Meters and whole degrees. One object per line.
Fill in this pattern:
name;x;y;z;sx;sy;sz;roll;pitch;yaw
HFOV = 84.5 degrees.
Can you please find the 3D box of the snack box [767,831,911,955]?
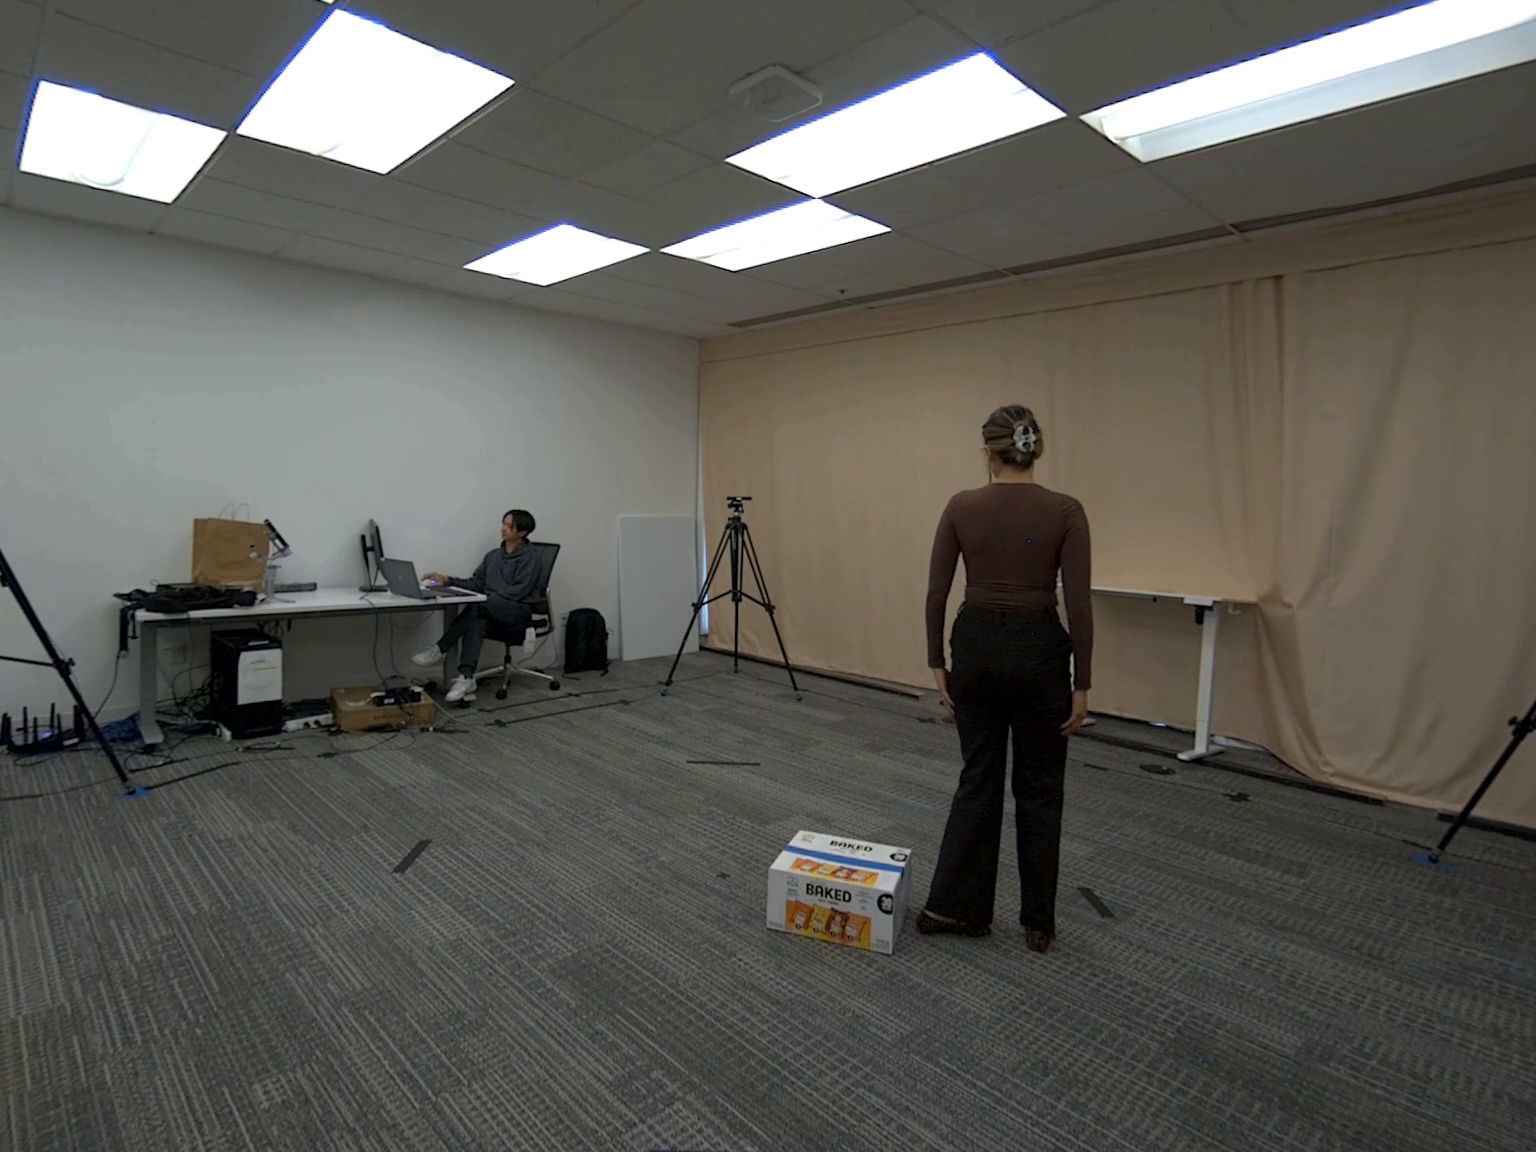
snack box;0.241;1.039;2.801;0.412;0.205;0.336;4;5;20
